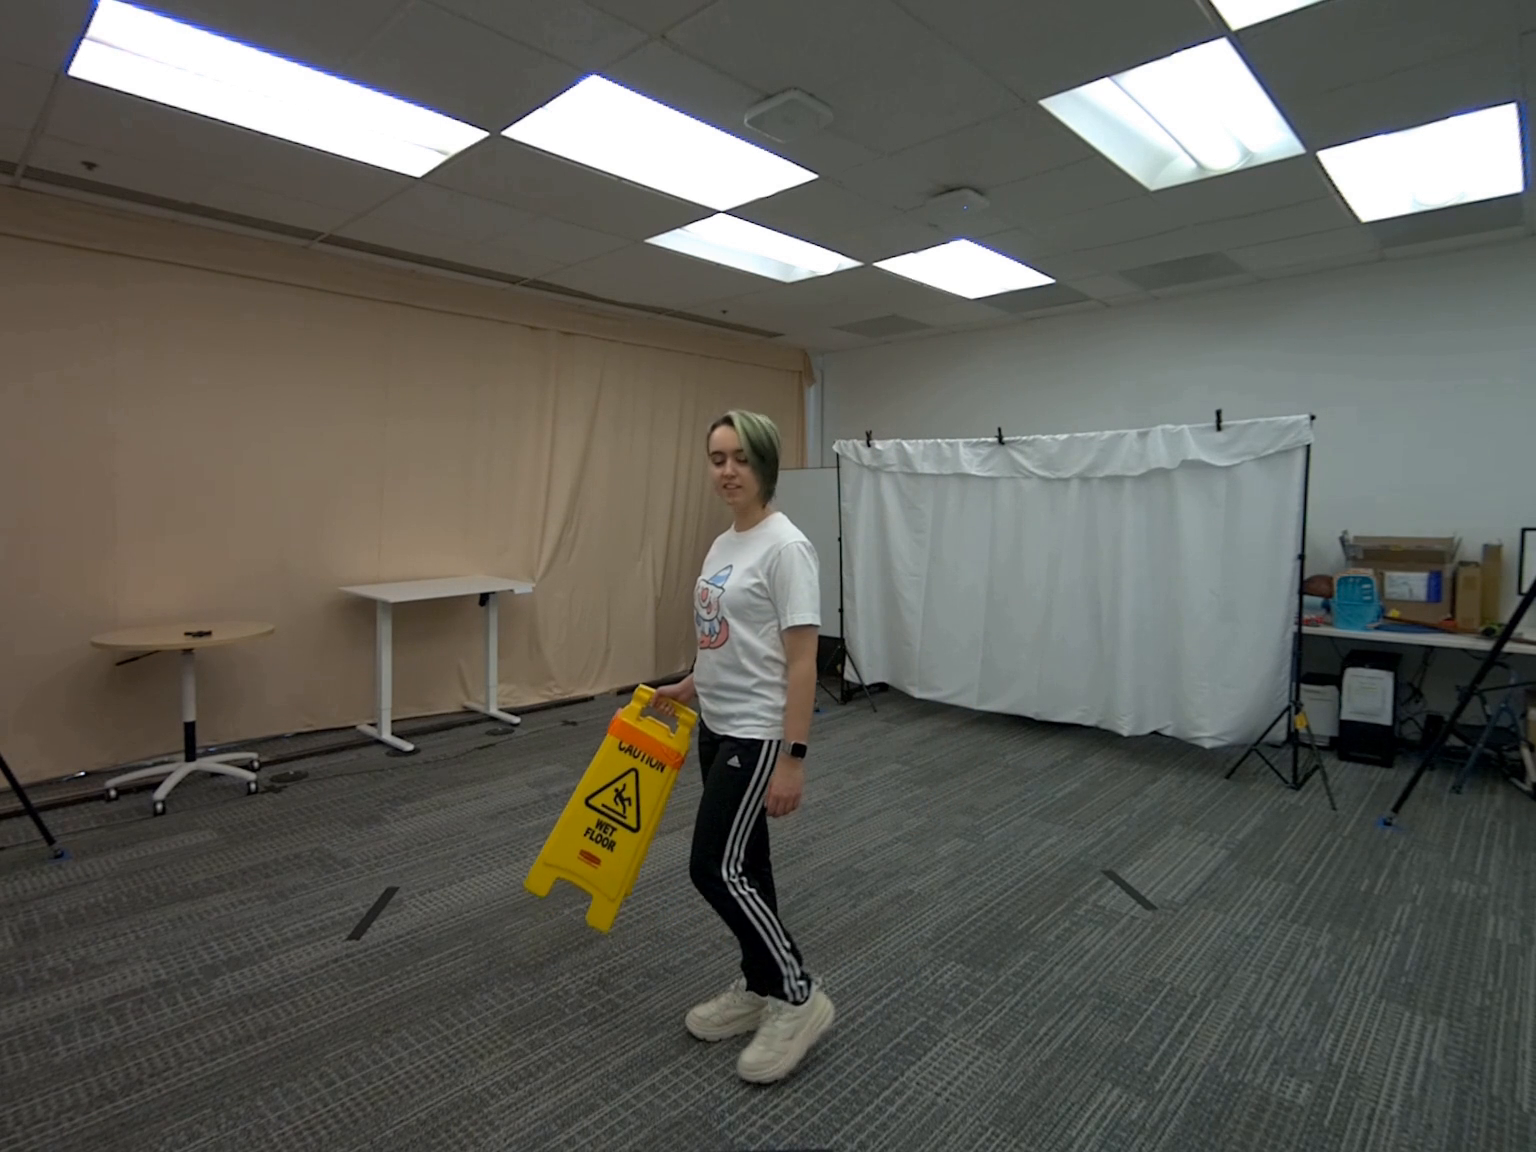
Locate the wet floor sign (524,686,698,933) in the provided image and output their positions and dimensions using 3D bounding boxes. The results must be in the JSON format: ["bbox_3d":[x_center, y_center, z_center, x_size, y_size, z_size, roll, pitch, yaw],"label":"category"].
[{"bbox_3d":[-0.414,0.654,2.462,0.283,0.645,0.289,22,4,2],"label":"wet floor sign"}]
